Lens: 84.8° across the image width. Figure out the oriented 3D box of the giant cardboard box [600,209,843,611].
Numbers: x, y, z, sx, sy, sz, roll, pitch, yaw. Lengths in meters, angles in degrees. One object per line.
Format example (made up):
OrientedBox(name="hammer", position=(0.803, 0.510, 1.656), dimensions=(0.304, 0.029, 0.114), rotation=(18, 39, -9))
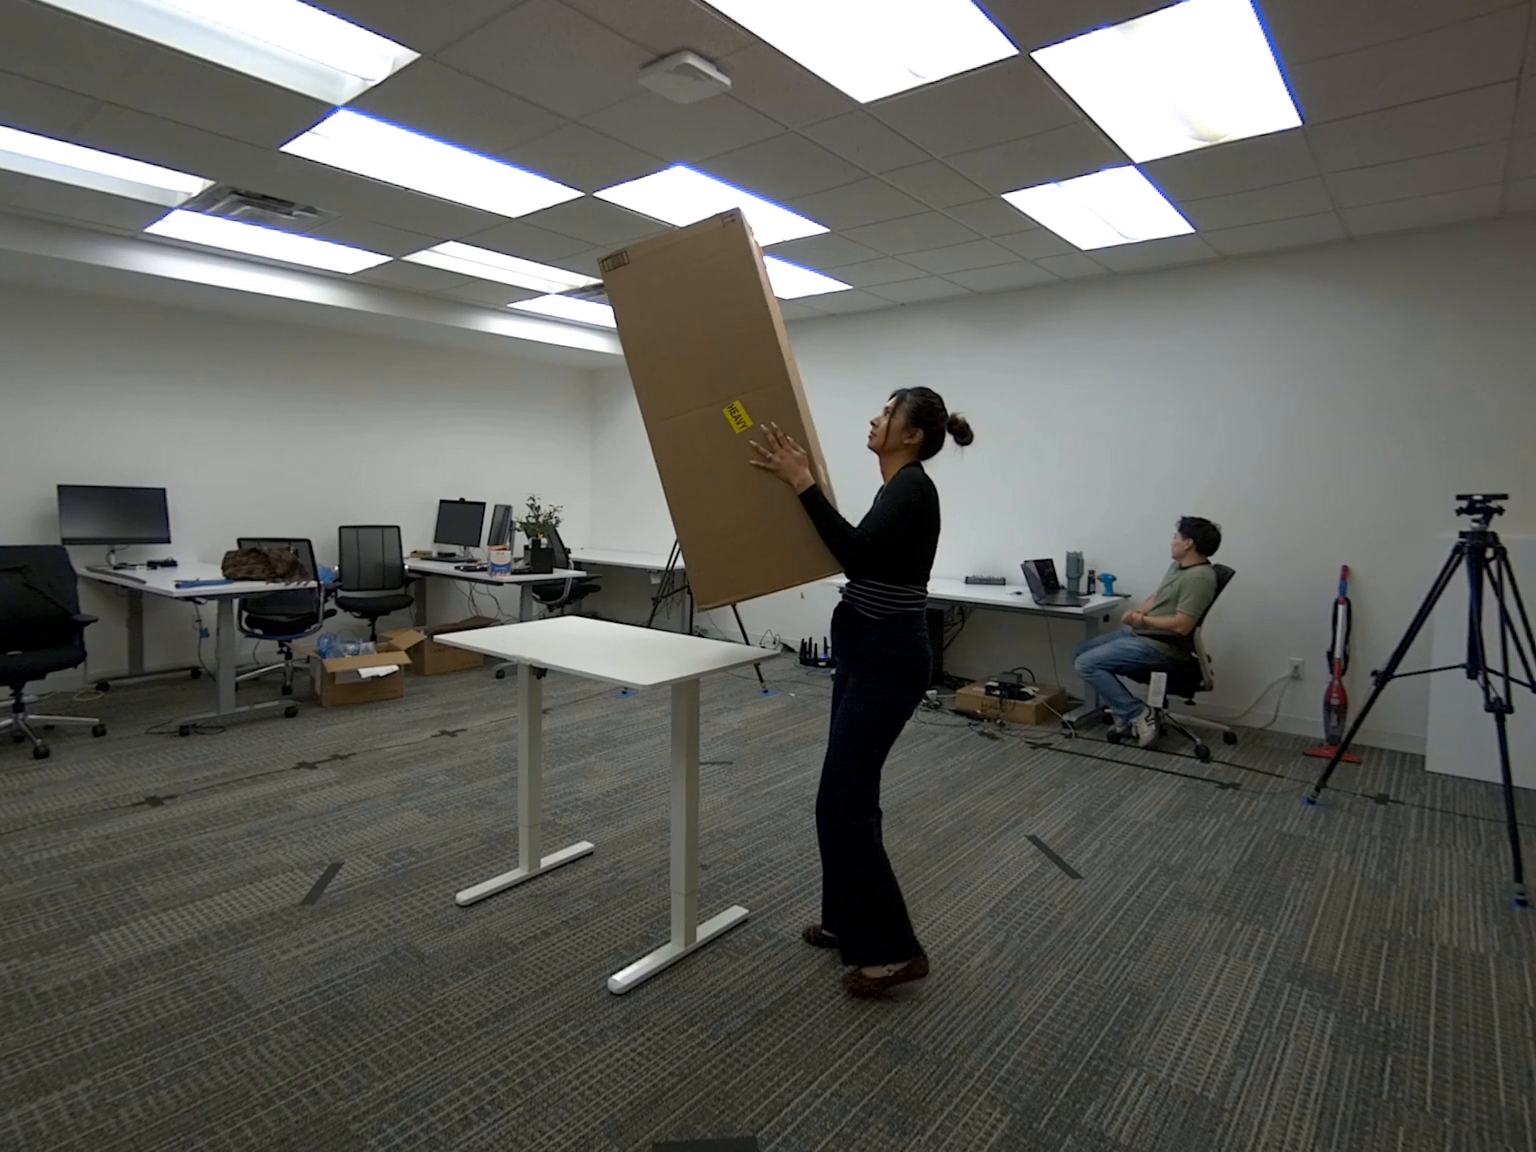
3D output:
OrientedBox(name="giant cardboard box", position=(-0.108, -0.461, 2.573), dimensions=(0.430, 1.029, 0.571), rotation=(-16, -2, 10))
